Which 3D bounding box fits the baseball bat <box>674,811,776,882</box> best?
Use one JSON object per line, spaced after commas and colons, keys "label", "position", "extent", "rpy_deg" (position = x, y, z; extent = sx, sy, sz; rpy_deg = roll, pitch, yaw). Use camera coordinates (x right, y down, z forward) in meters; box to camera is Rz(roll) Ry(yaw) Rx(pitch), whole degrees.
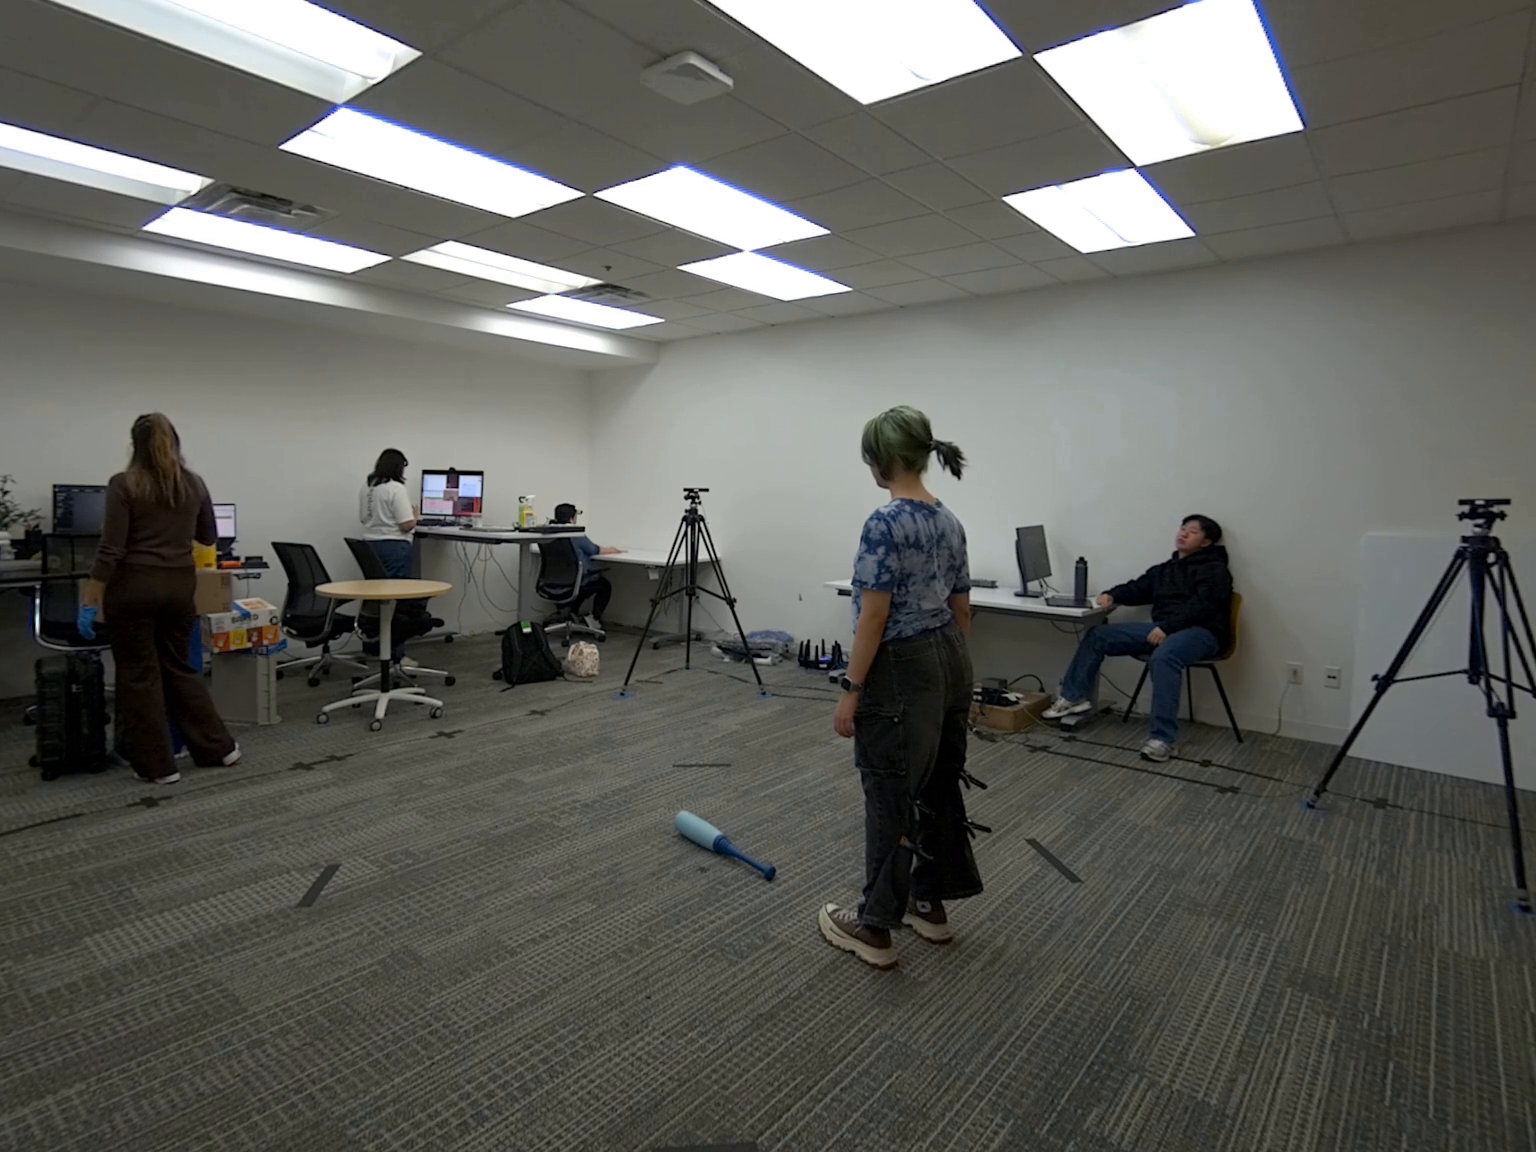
{"label": "baseball bat", "position": [-0.182, 1.024, 3.231], "extent": [0.086, 0.088, 0.563], "rpy_deg": [-3, 9, -41]}
